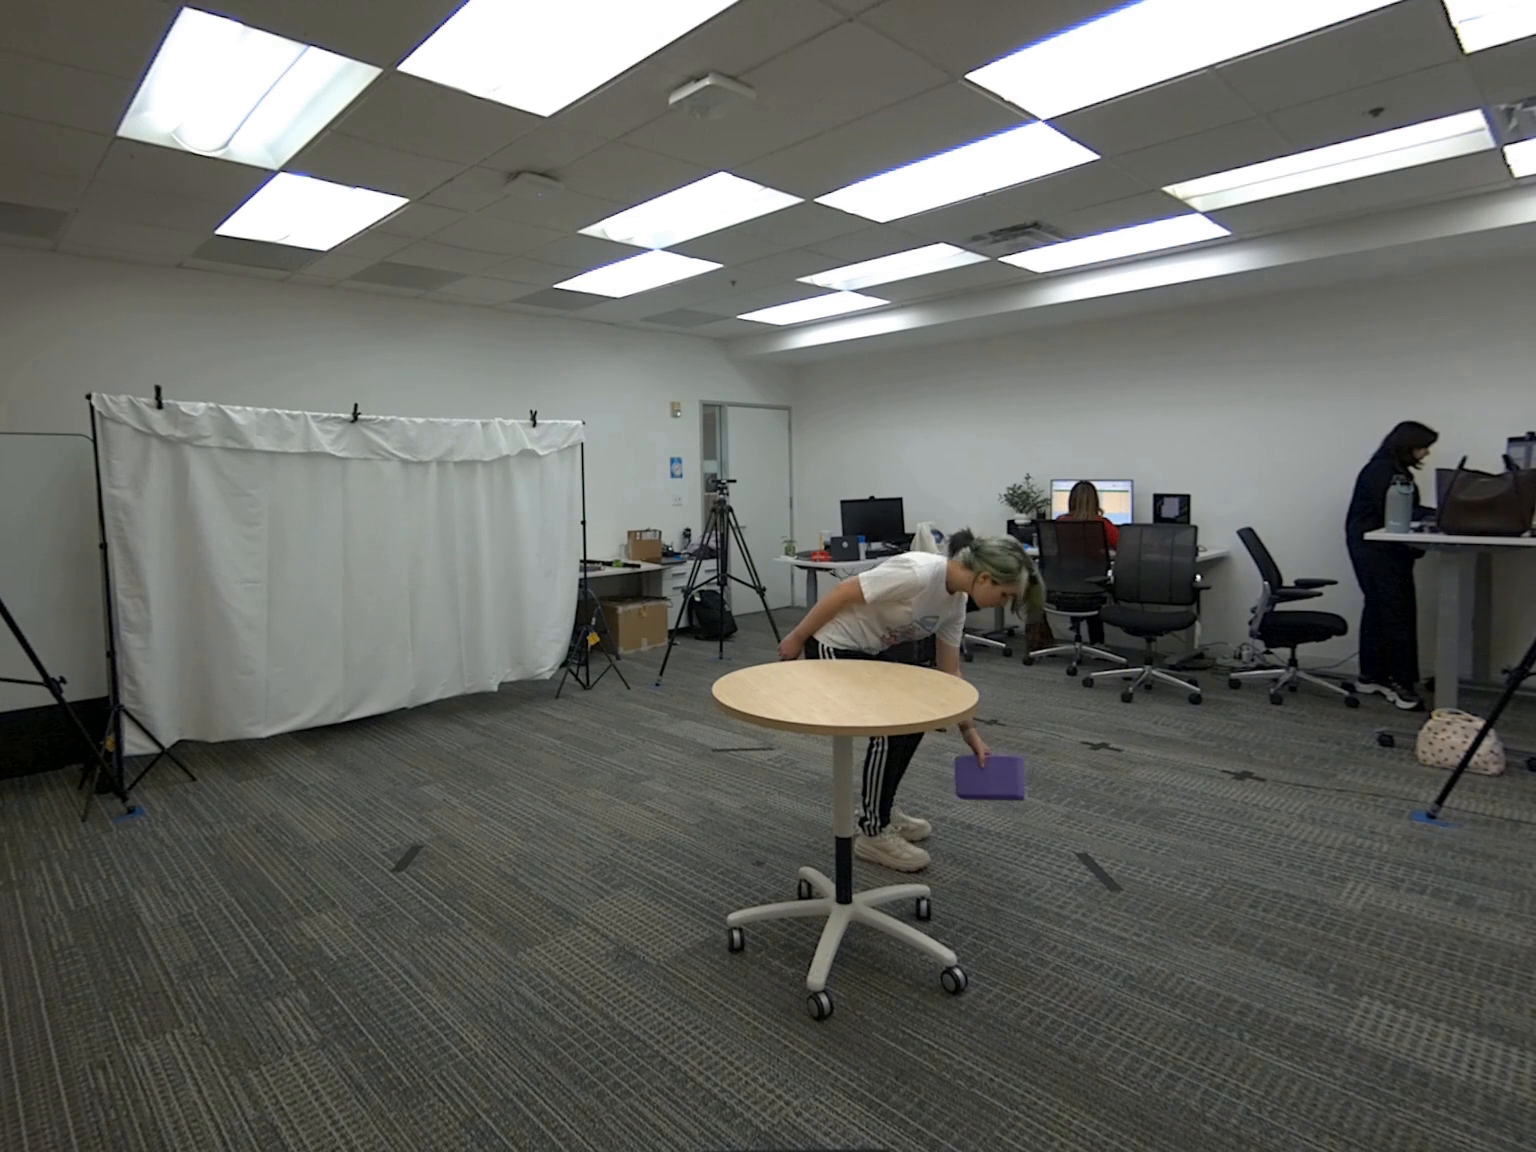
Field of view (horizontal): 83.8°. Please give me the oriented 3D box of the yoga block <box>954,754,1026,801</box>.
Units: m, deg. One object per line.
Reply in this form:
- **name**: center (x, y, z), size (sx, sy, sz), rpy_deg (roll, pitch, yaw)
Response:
- **yoga block**: center (0.800, 0.715, 3.067), size (0.234, 0.151, 0.073), rpy_deg (-6, -28, 30)
